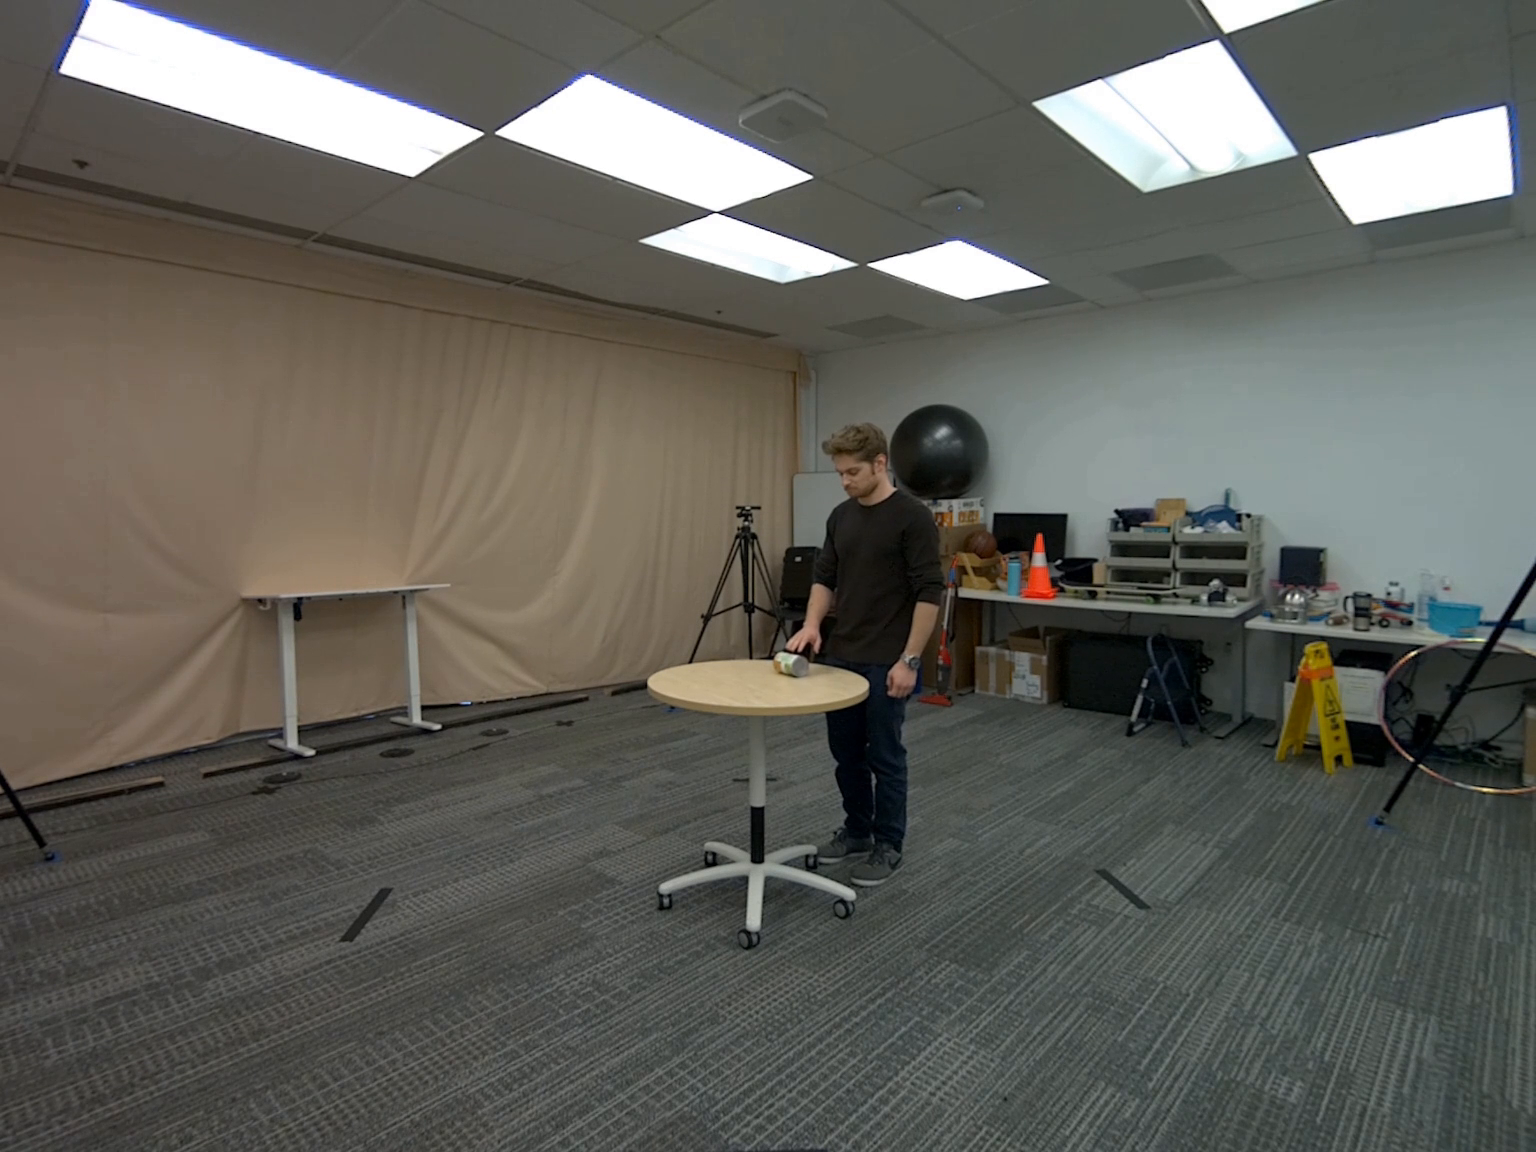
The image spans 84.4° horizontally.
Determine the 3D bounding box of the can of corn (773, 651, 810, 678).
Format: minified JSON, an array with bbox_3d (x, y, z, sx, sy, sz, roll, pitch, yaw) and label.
[{"bbox_3d":[0.082,0.318,3.028,0.072,0.074,0.114,-3,5,-37],"label":"can of corn"}]
